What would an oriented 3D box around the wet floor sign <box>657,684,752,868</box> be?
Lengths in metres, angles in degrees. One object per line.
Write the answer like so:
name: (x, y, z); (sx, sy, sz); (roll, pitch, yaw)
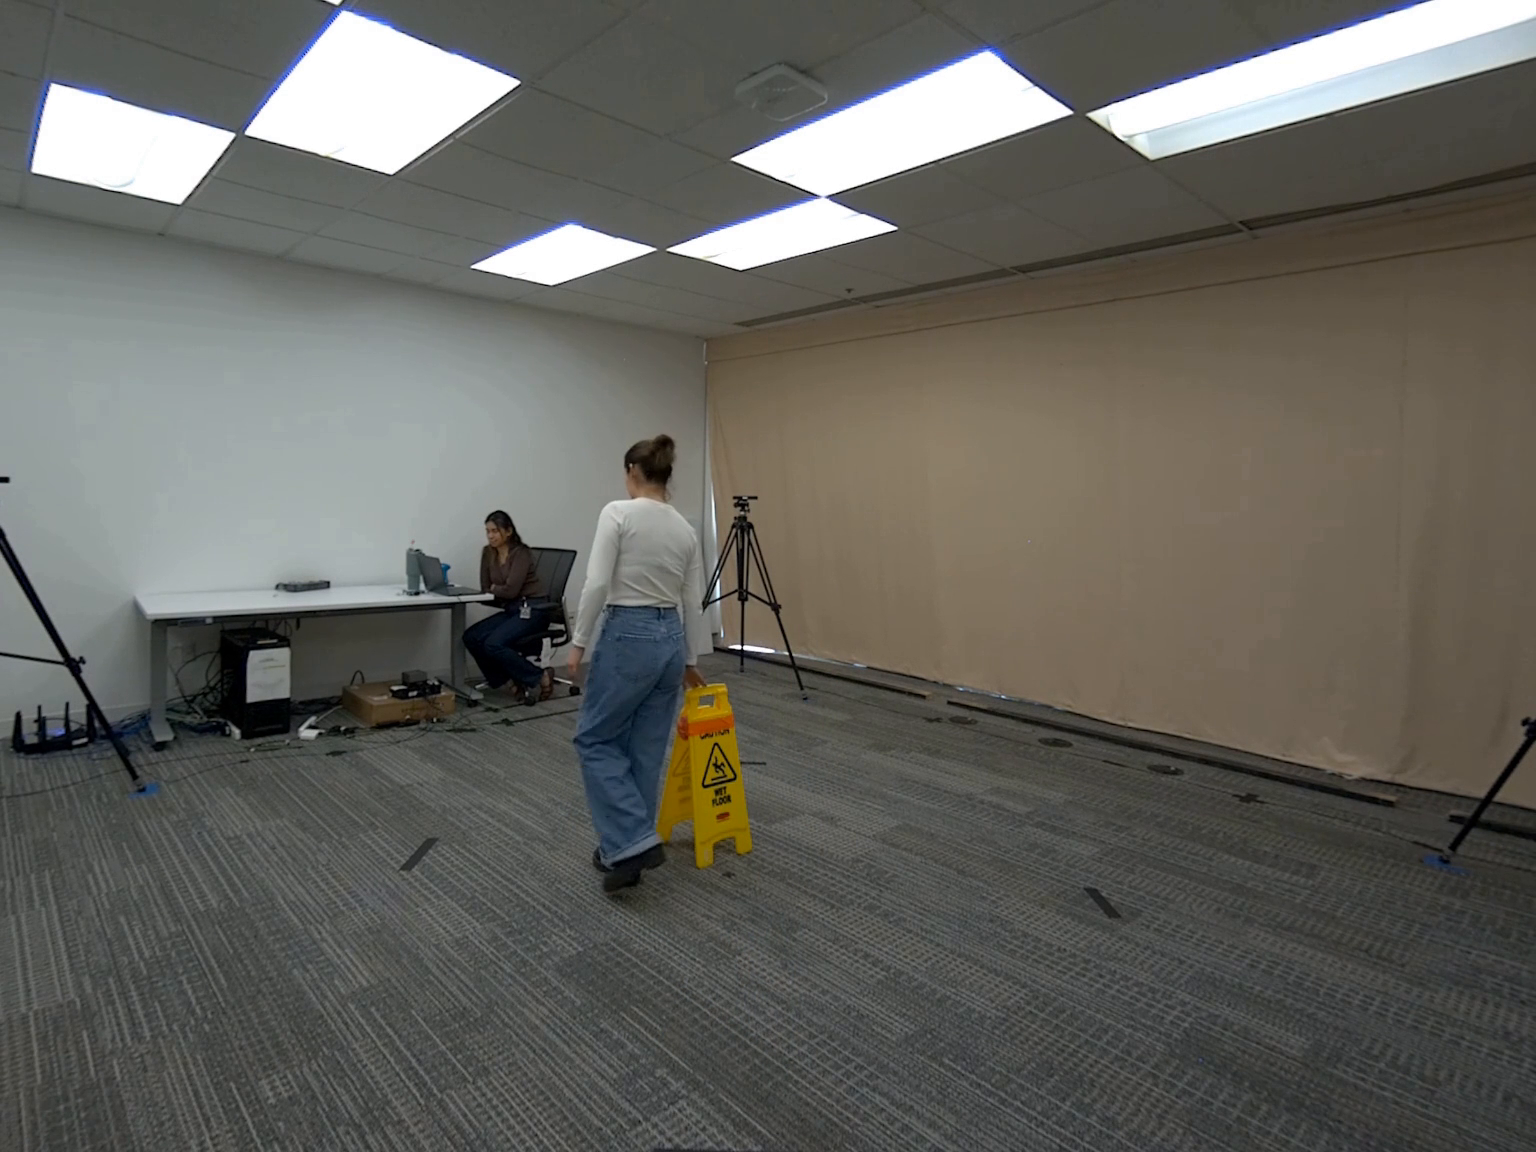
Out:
wet floor sign: (-0.260, 0.757, 3.326); (0.276, 0.645, 0.297); (-1, 3, -44)
